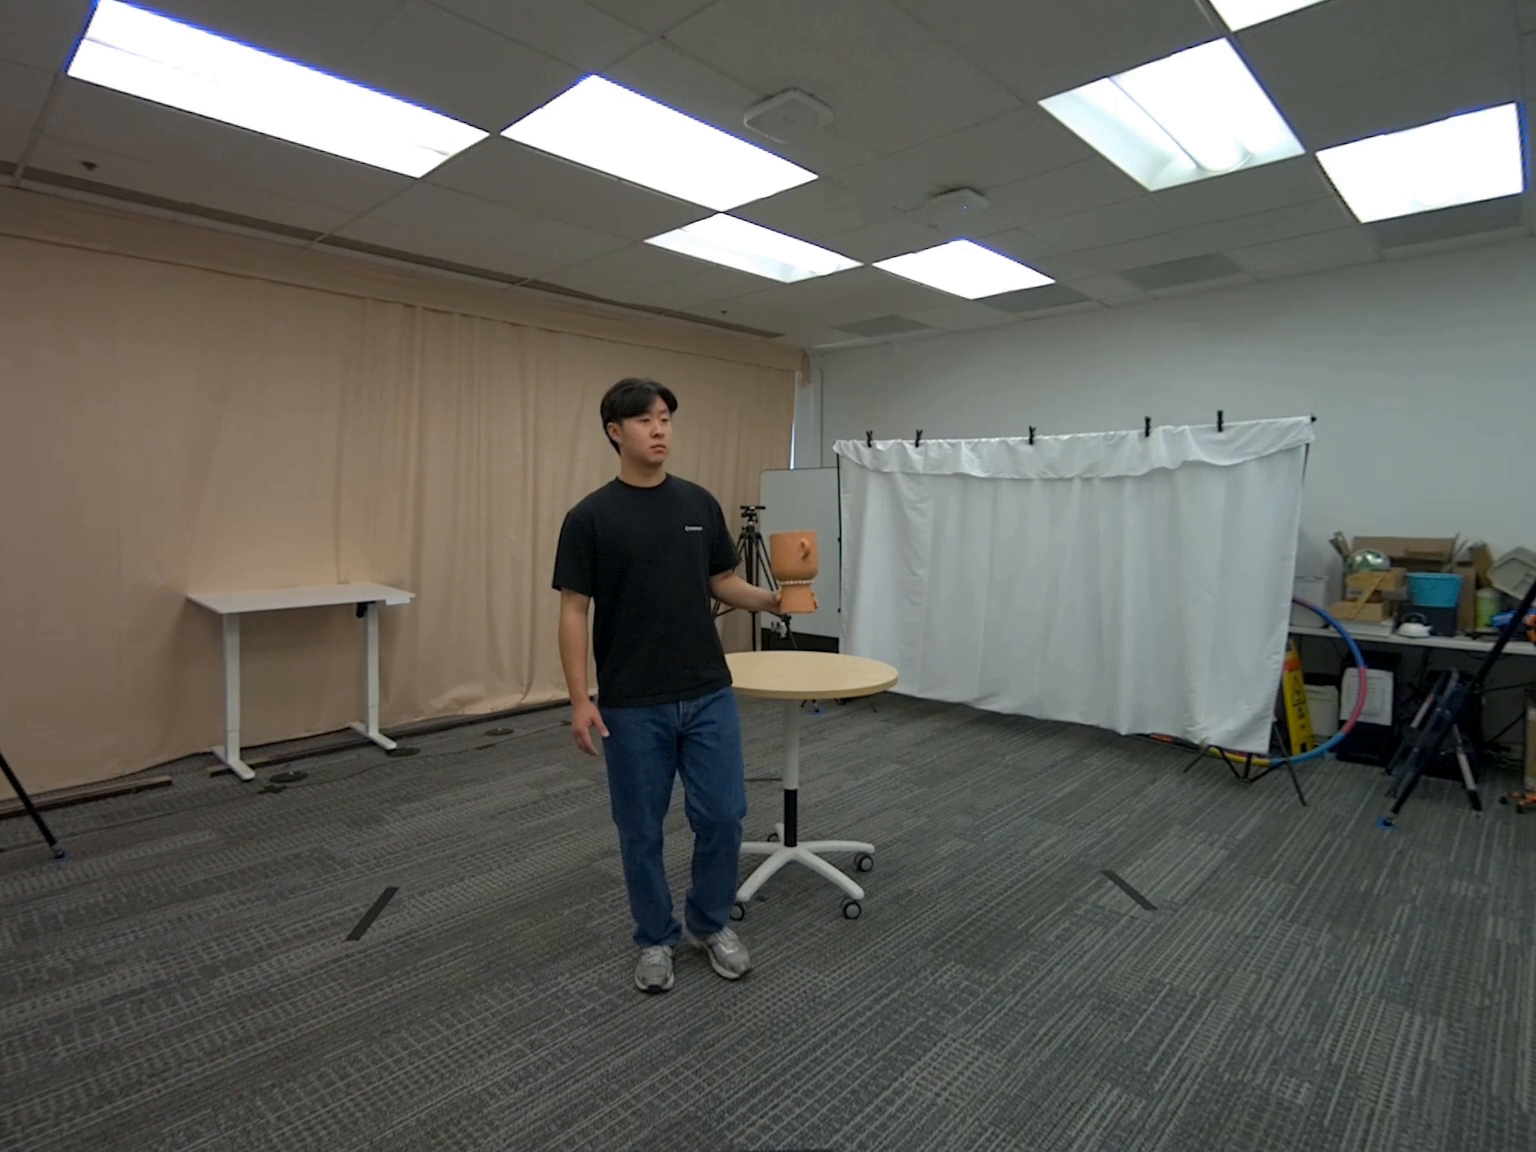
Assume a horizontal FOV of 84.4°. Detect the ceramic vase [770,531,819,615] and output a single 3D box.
[{"bbox_3d":[0.078,-0.008,2.303,0.137,0.220,0.155,-4,-3,21],"label":"ceramic vase"}]
